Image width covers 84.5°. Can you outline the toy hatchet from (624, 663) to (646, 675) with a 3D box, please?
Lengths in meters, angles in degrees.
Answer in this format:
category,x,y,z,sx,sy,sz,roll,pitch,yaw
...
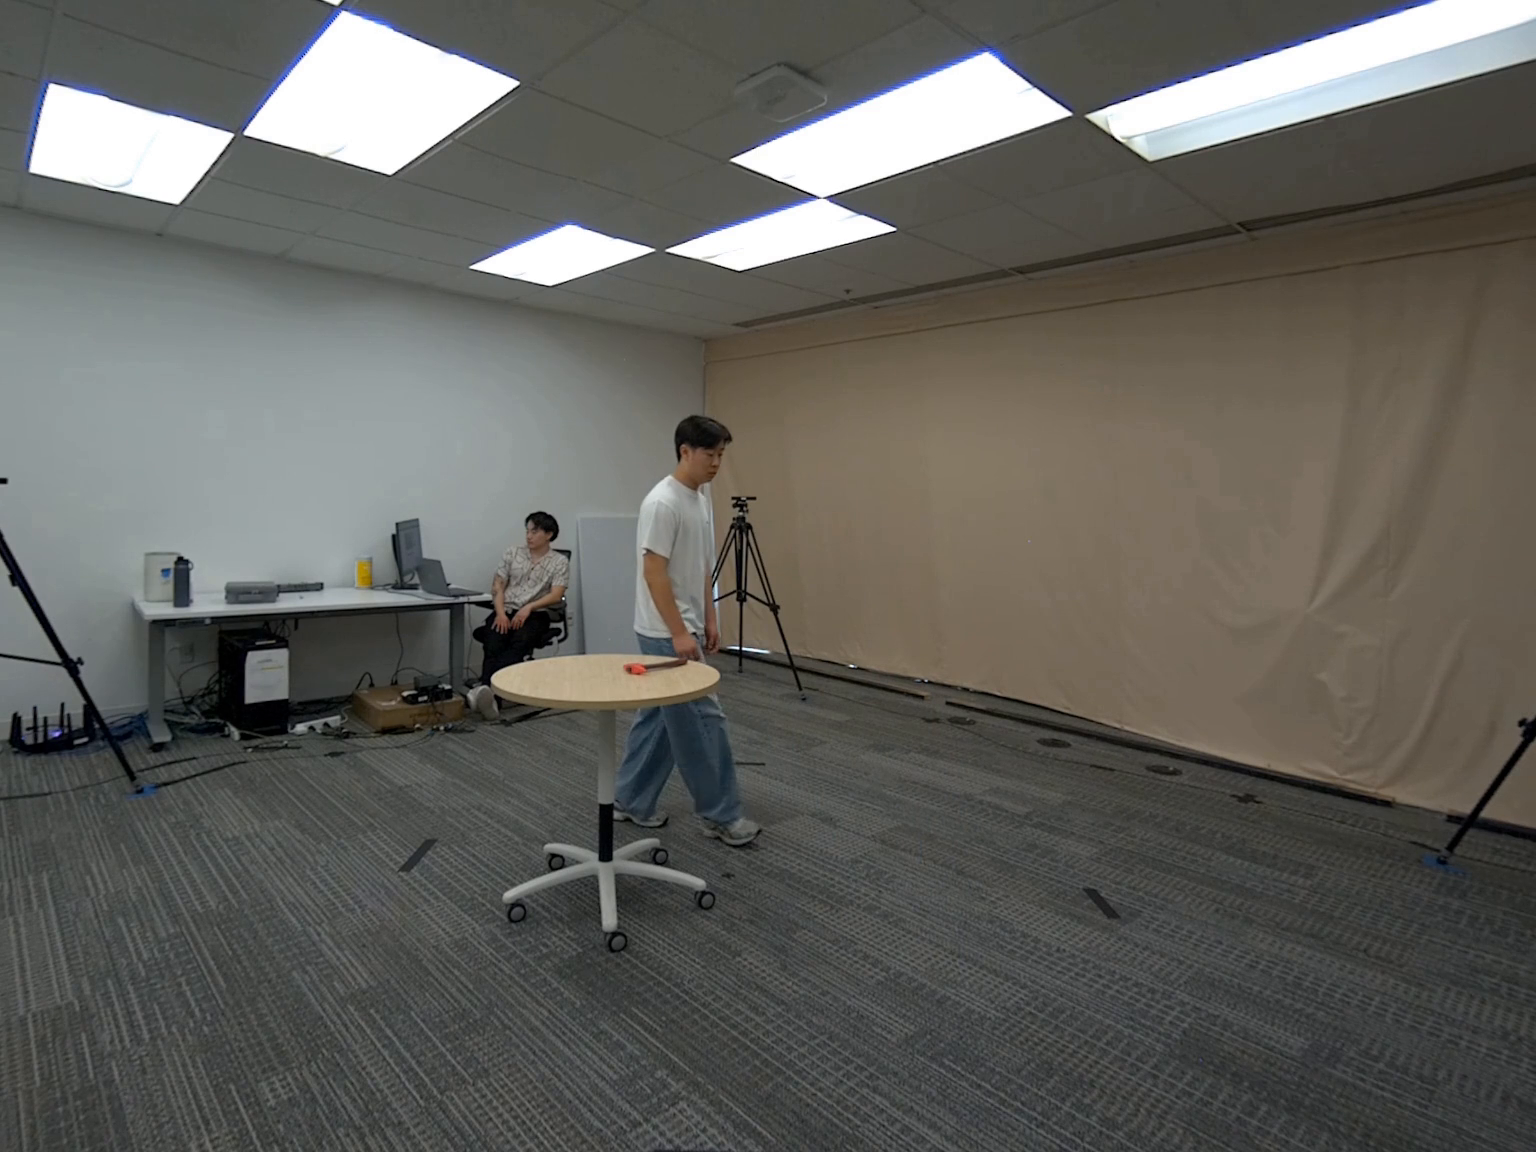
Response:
category,x,y,z,sx,sy,sz,roll,pitch,yaw
toy hatchet,-0.422,0.316,2.984,0.134,0.029,0.265,1,2,30
